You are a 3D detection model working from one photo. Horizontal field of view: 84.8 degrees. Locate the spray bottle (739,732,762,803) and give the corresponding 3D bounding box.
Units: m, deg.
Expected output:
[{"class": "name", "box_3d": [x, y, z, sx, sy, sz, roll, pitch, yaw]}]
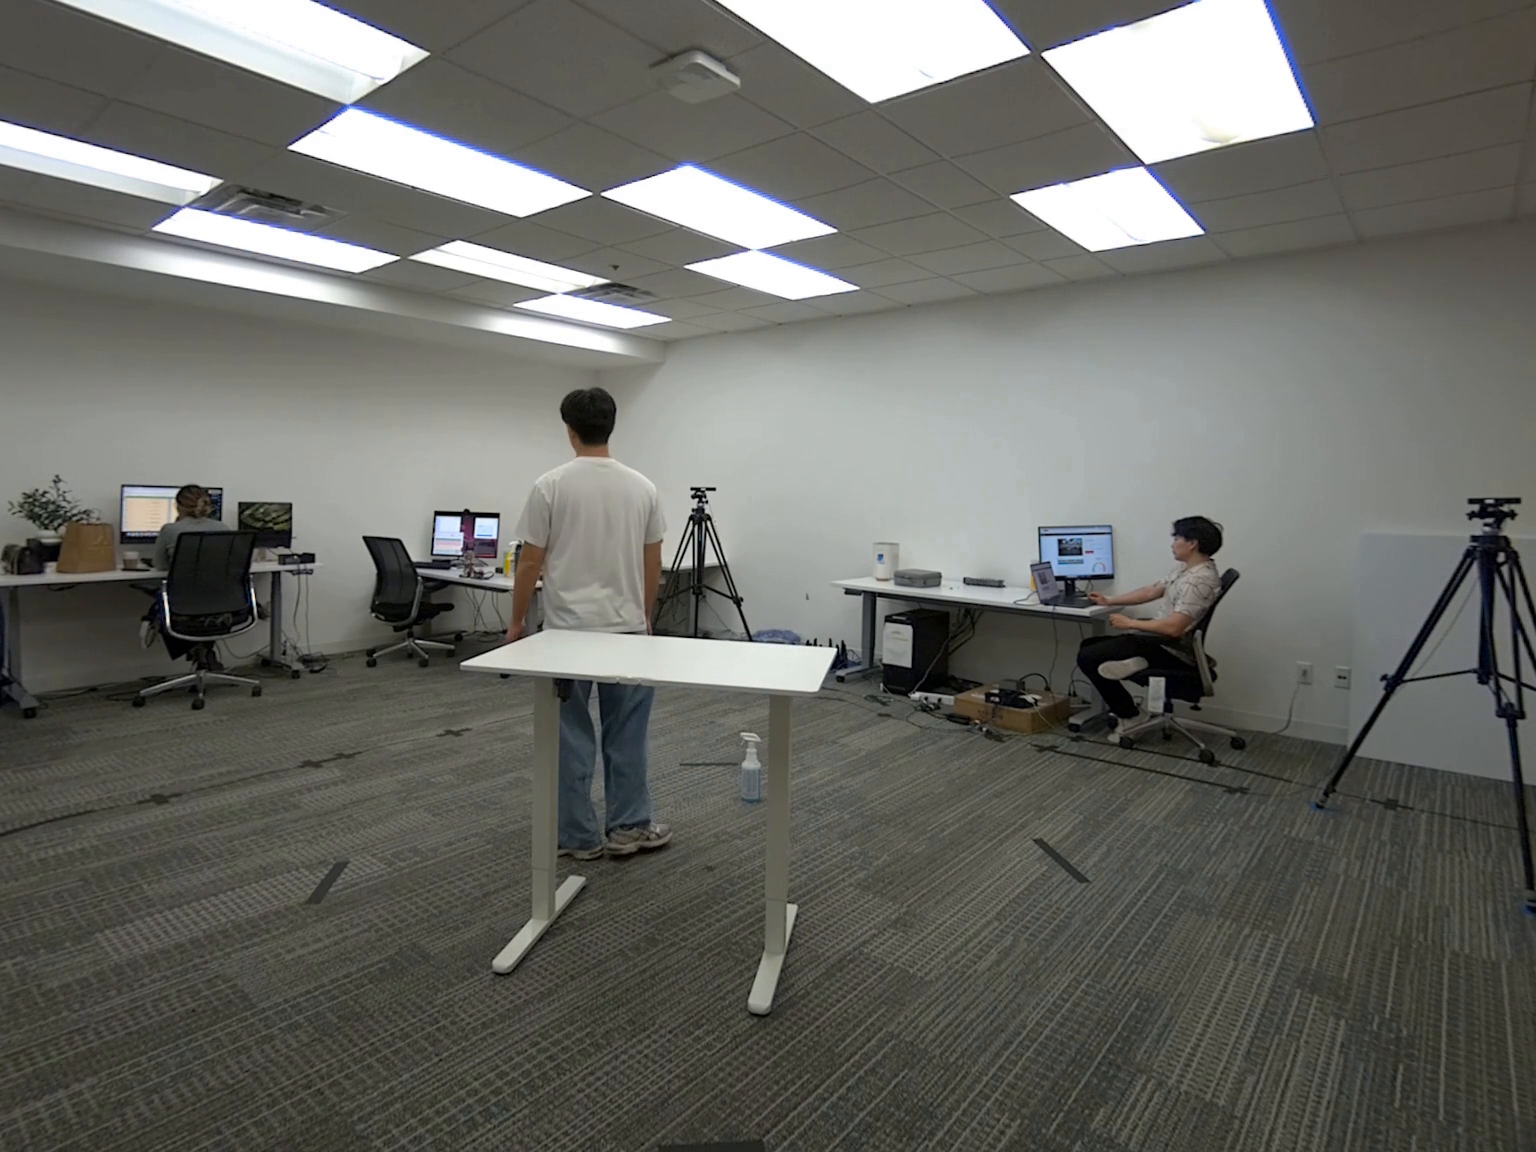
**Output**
[{"class": "spray bottle", "box_3d": [-0.090, 0.852, 3.802, 0.092, 0.295, 0.085, 3, 7, 28]}]
